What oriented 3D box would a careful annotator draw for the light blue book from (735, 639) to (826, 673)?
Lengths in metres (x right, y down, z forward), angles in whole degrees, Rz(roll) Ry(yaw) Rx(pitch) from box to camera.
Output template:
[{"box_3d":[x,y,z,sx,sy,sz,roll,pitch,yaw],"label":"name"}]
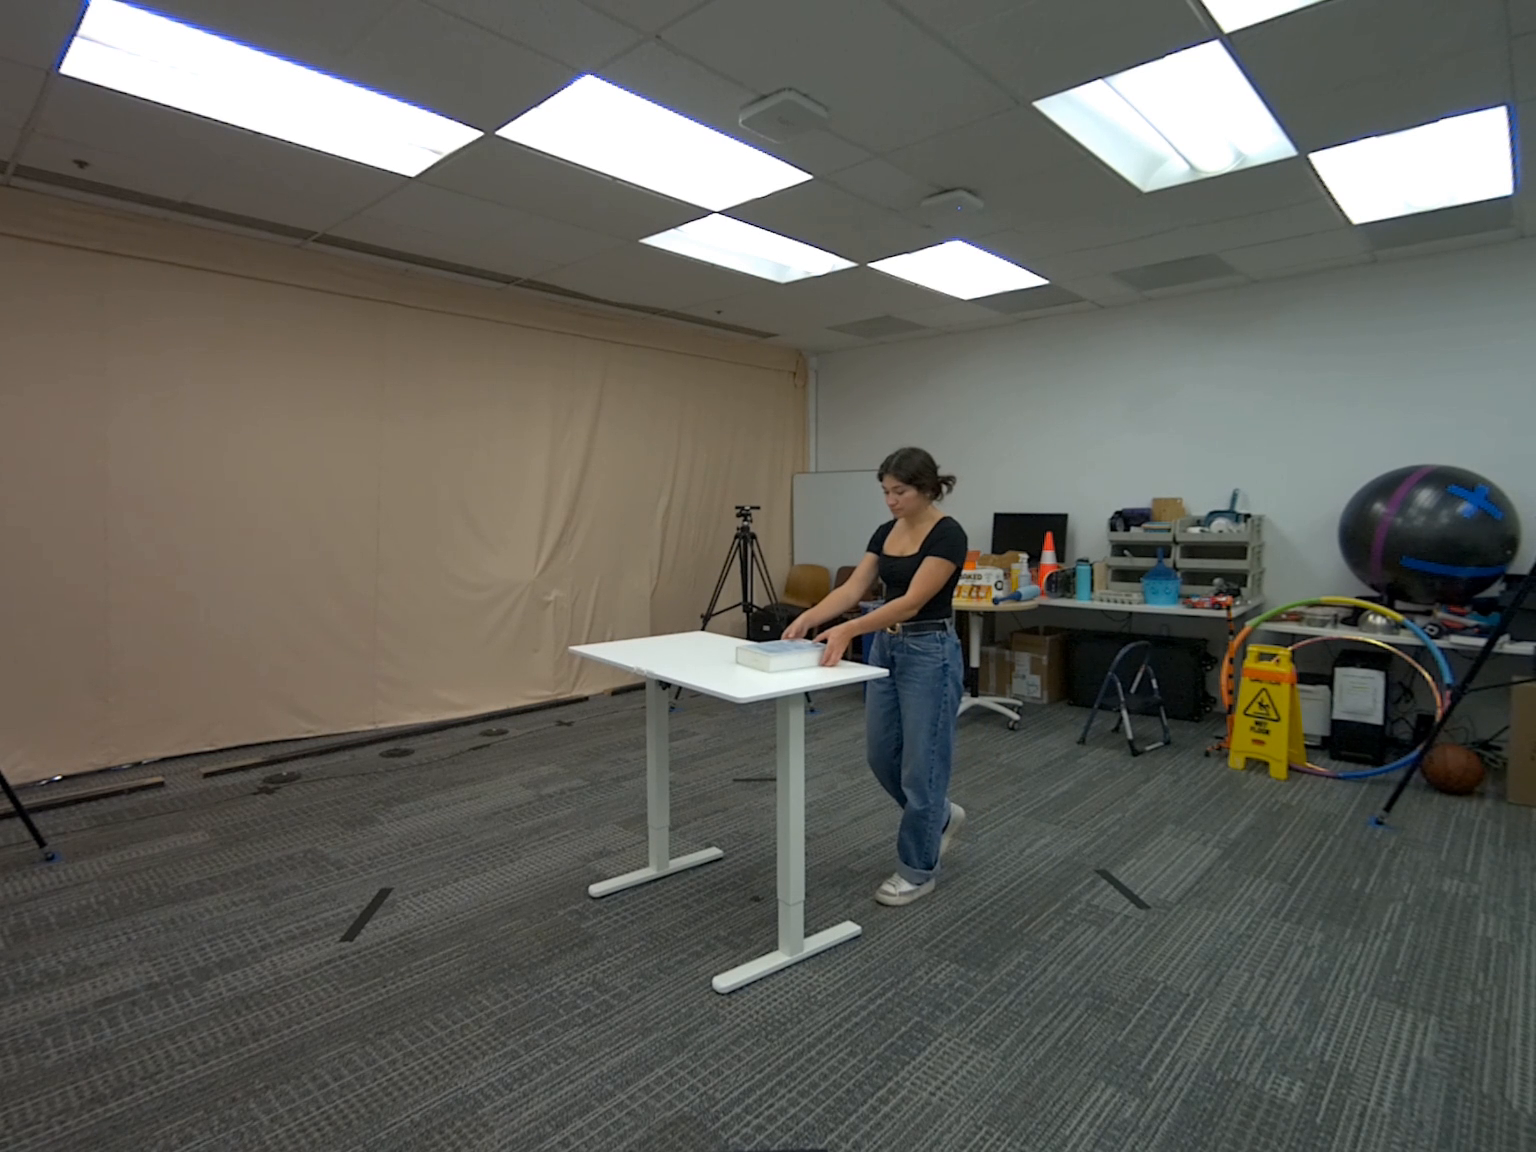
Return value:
[{"box_3d":[0.059,0.261,2.705,0.254,0.059,0.197,-4,7,-33],"label":"light blue book"}]
